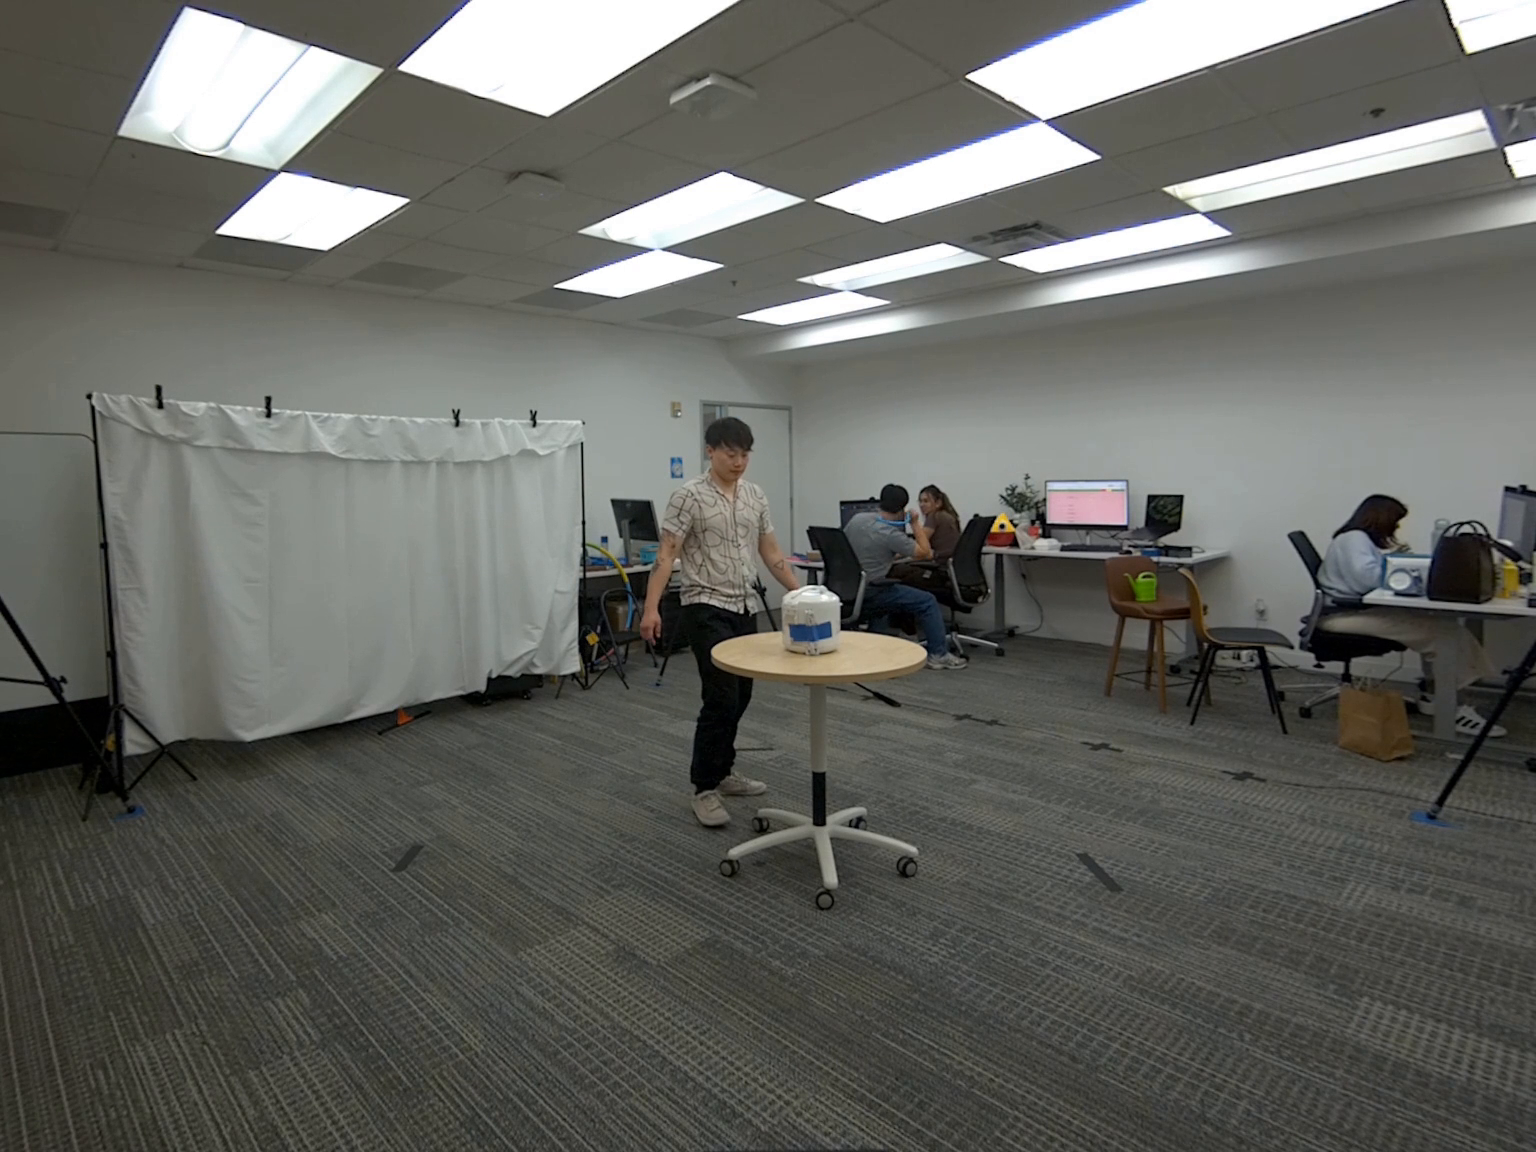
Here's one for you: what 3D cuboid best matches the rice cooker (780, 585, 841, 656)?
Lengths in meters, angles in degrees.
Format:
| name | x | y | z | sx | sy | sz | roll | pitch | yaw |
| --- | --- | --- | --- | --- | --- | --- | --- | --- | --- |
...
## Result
| name | x | y | z | sx | sy | sz | roll | pitch | yaw |
| --- | --- | --- | --- | --- | --- | --- | --- | --- | --- |
| rice cooker | 0.154 | 0.150 | 3.065 | 0.215 | 0.231 | 0.224 | -6 | 8 | -41 |
